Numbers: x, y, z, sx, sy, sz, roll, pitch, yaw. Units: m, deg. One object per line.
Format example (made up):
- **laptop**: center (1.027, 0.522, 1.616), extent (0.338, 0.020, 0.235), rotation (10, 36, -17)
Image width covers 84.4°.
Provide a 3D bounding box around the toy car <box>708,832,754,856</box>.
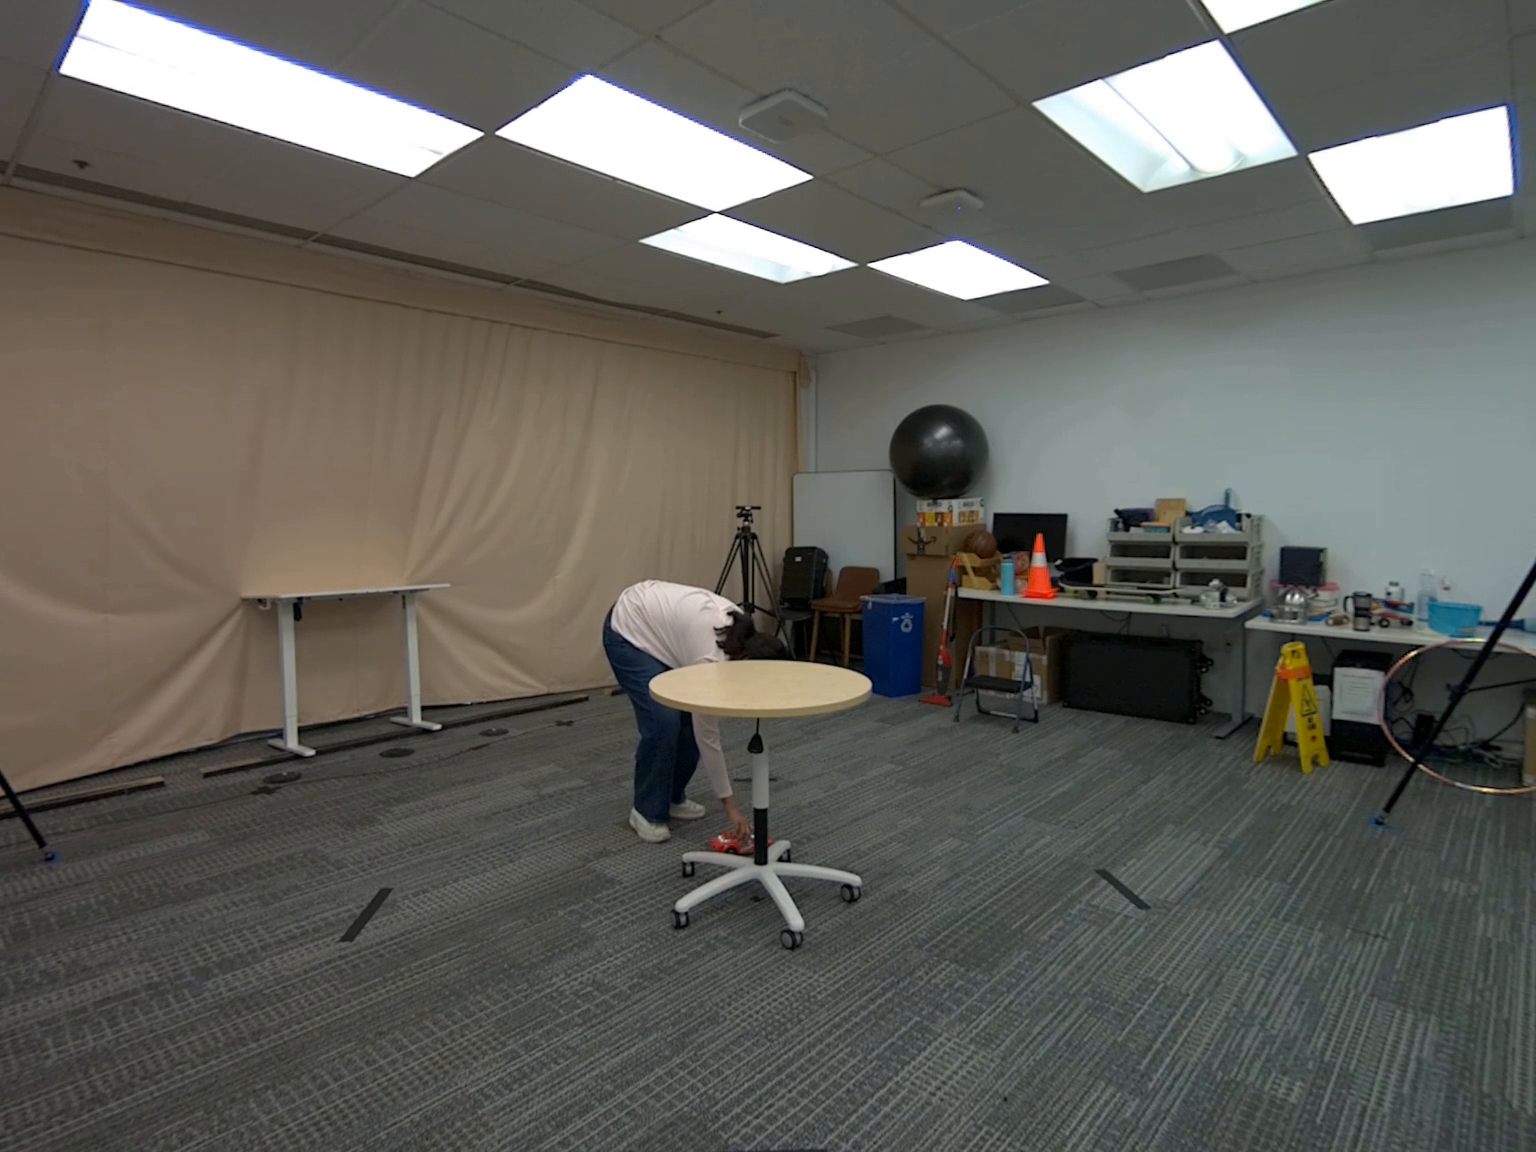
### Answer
- **toy car**: center (-0.122, 1.077, 3.379), extent (0.250, 0.083, 0.132), rotation (11, 0, -15)
